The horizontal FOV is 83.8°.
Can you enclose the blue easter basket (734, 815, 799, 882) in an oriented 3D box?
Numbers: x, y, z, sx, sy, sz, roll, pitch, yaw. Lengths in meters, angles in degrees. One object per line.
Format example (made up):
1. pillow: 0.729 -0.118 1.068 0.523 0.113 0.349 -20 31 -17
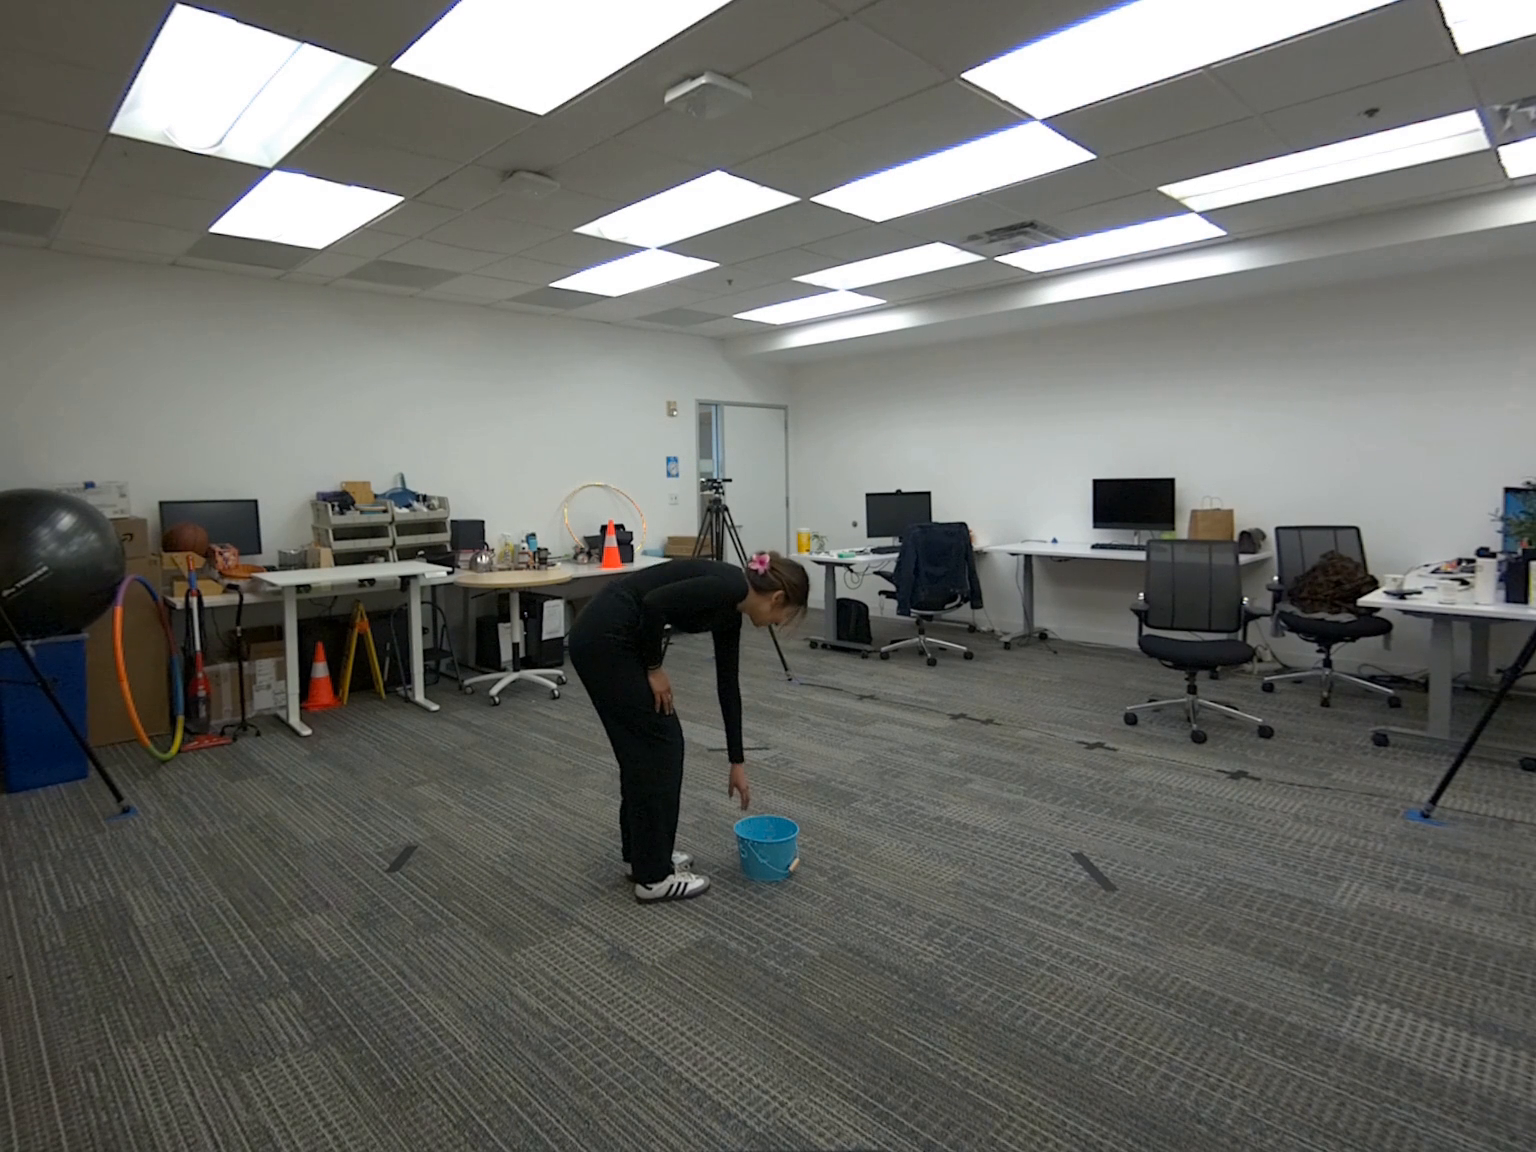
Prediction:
1. blue easter basket: -0.002 0.968 3.043 0.243 0.155 0.245 -1 6 -2
